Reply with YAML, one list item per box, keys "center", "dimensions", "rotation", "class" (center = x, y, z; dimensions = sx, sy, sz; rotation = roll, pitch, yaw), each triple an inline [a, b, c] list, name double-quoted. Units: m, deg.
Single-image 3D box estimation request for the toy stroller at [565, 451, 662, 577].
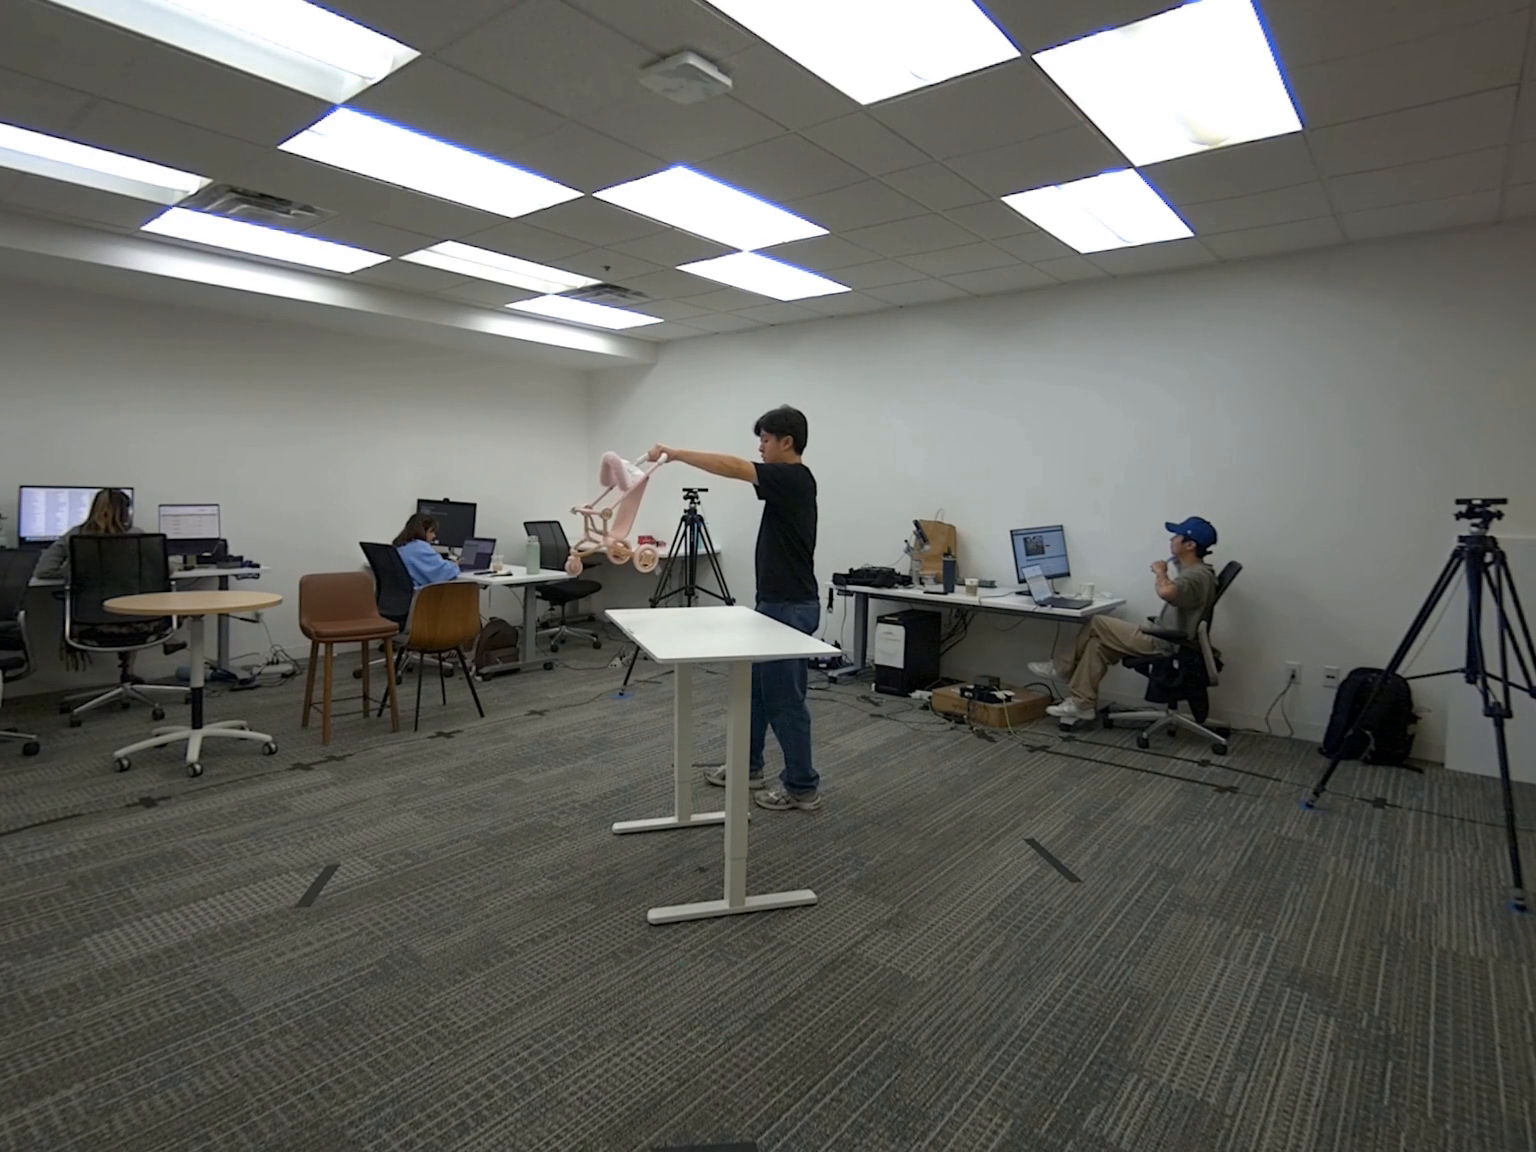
- center: [-0.629, -0.254, 3.374]
  dimensions: [0.331, 0.534, 0.290]
  rotation: [8, 3, -29]
  class: "toy stroller"
